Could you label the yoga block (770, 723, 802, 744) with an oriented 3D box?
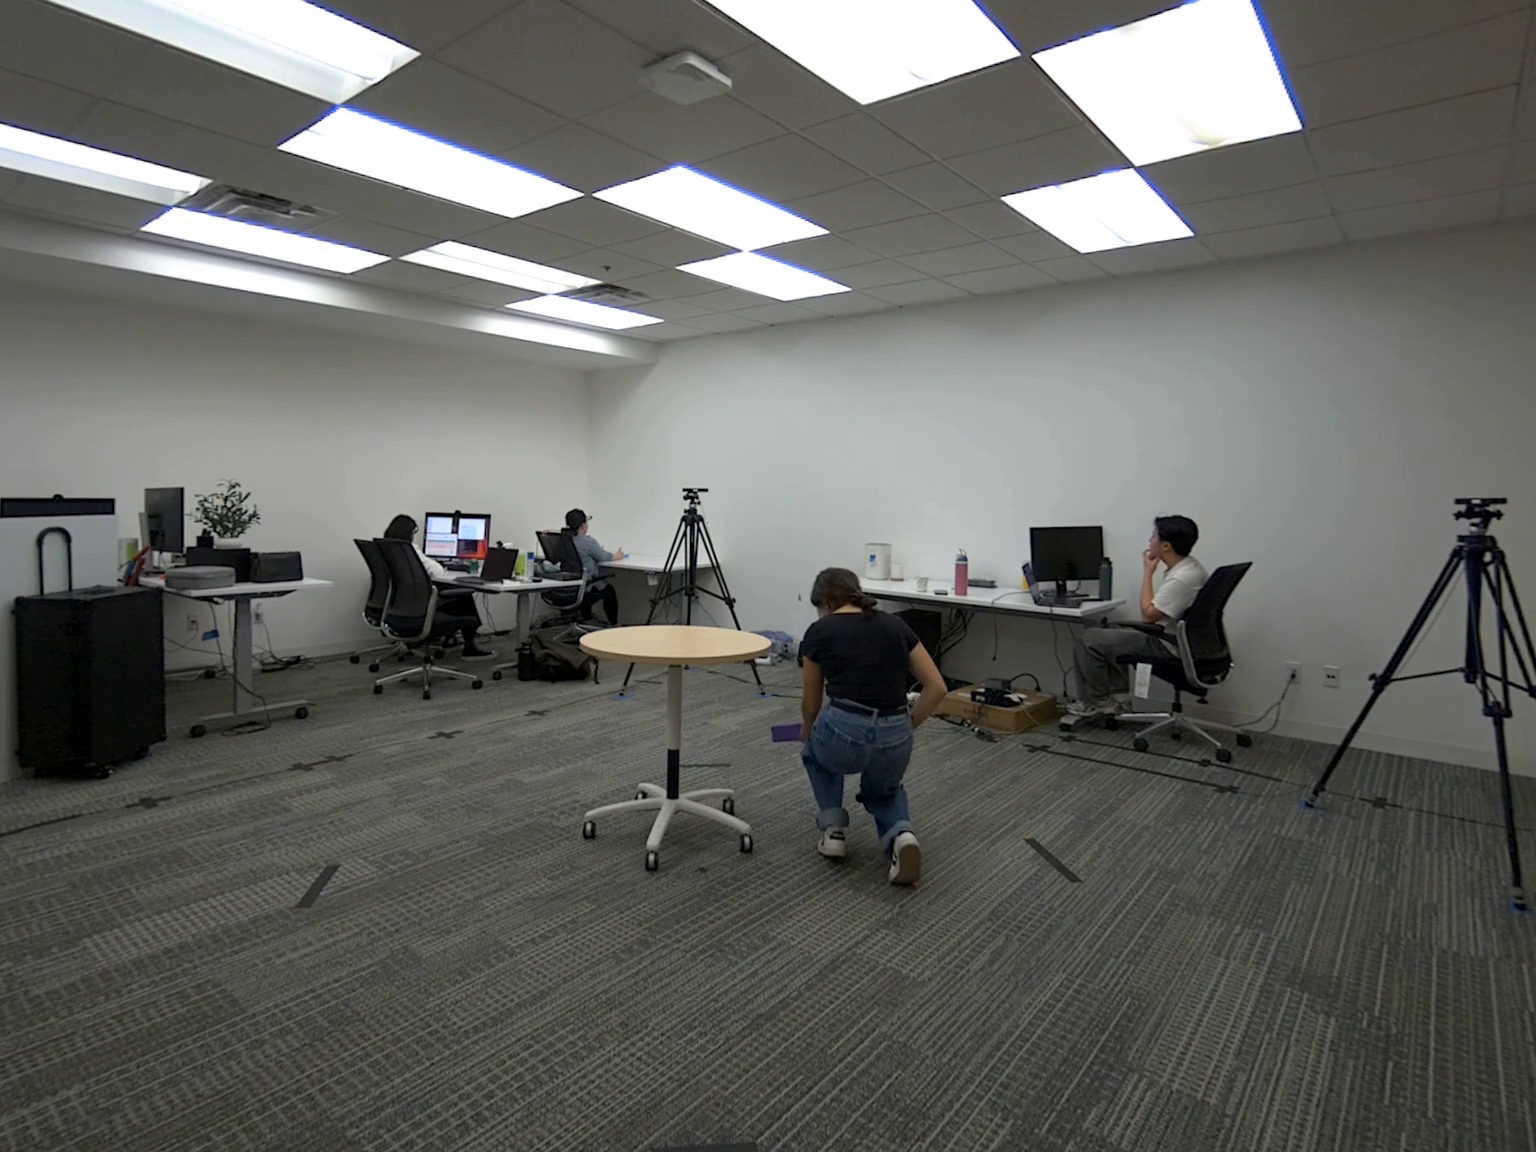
[{"bbox_3d":[0.149,0.659,3.663,0.234,0.077,0.144,-14,-12,39],"label":"yoga block"}]
